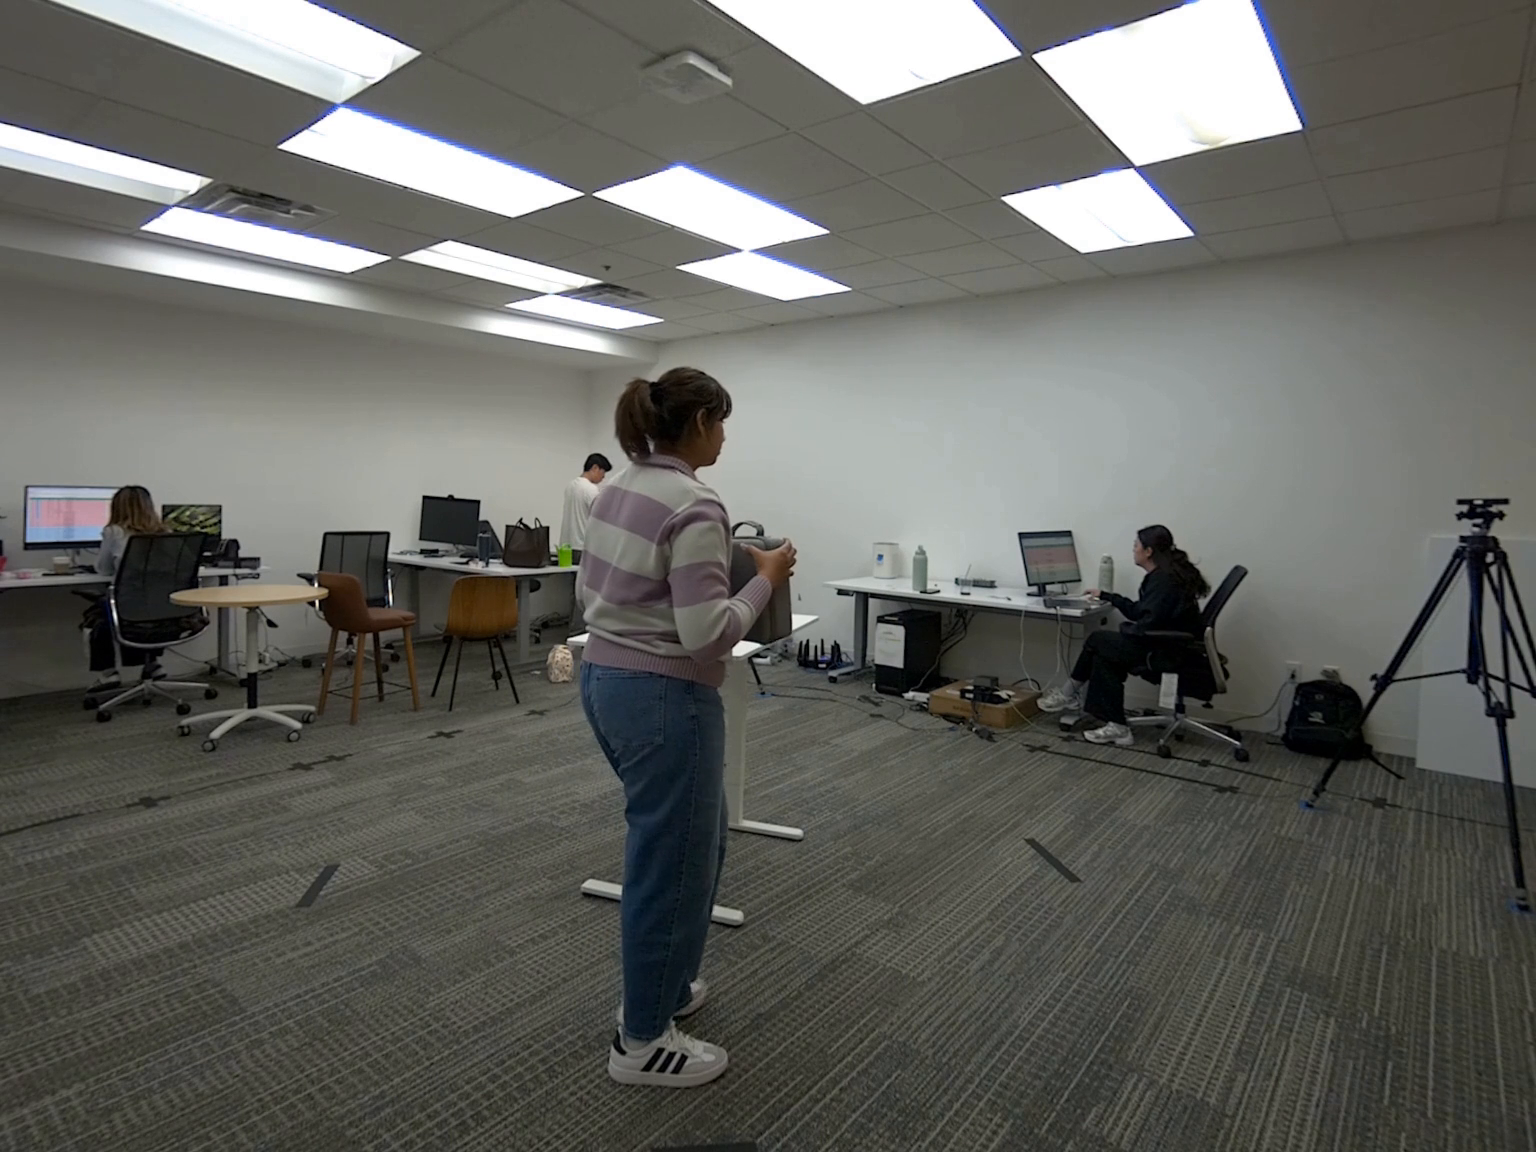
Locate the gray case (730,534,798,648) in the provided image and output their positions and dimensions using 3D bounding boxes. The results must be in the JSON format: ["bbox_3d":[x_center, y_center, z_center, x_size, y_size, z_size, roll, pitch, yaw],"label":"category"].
[{"bbox_3d":[-0.071,0.034,2.117,0.265,0.260,0.101,-2,4,40],"label":"gray case"}]
